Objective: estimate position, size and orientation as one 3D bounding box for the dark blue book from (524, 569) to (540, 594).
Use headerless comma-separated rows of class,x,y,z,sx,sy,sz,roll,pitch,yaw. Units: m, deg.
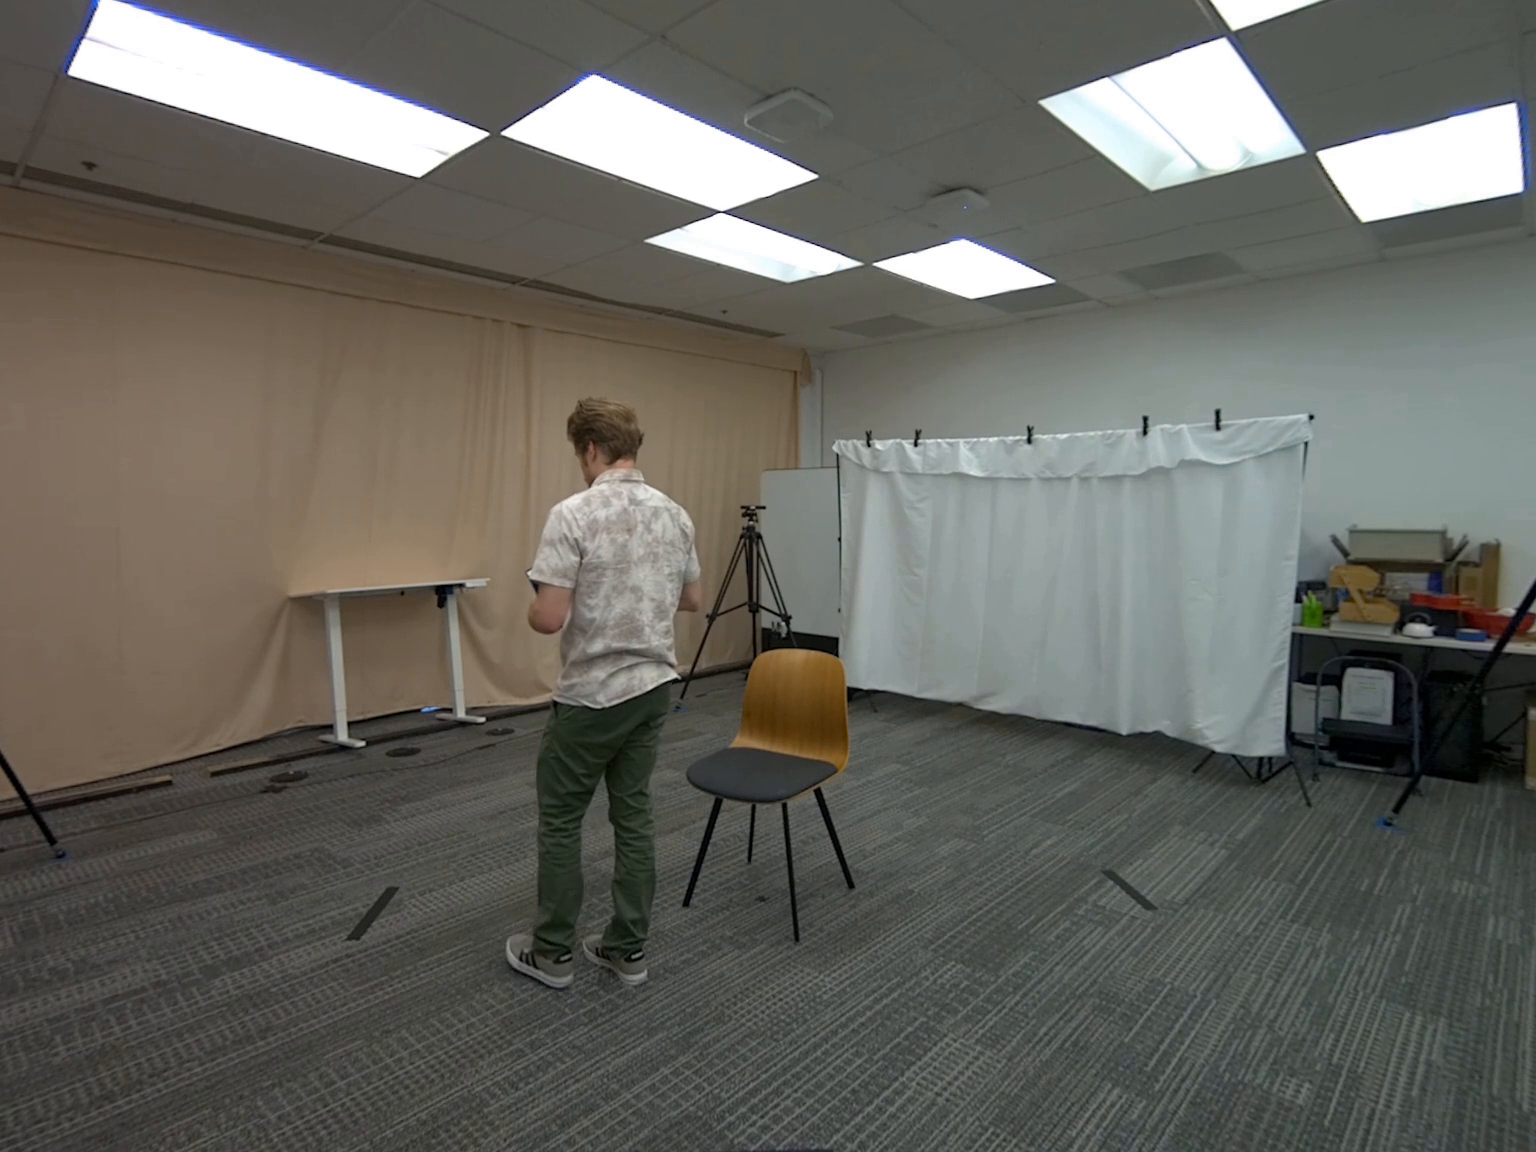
dark blue book,-0.643,0.042,2.624,0.162,0.239,0.047,-30,45,-18
